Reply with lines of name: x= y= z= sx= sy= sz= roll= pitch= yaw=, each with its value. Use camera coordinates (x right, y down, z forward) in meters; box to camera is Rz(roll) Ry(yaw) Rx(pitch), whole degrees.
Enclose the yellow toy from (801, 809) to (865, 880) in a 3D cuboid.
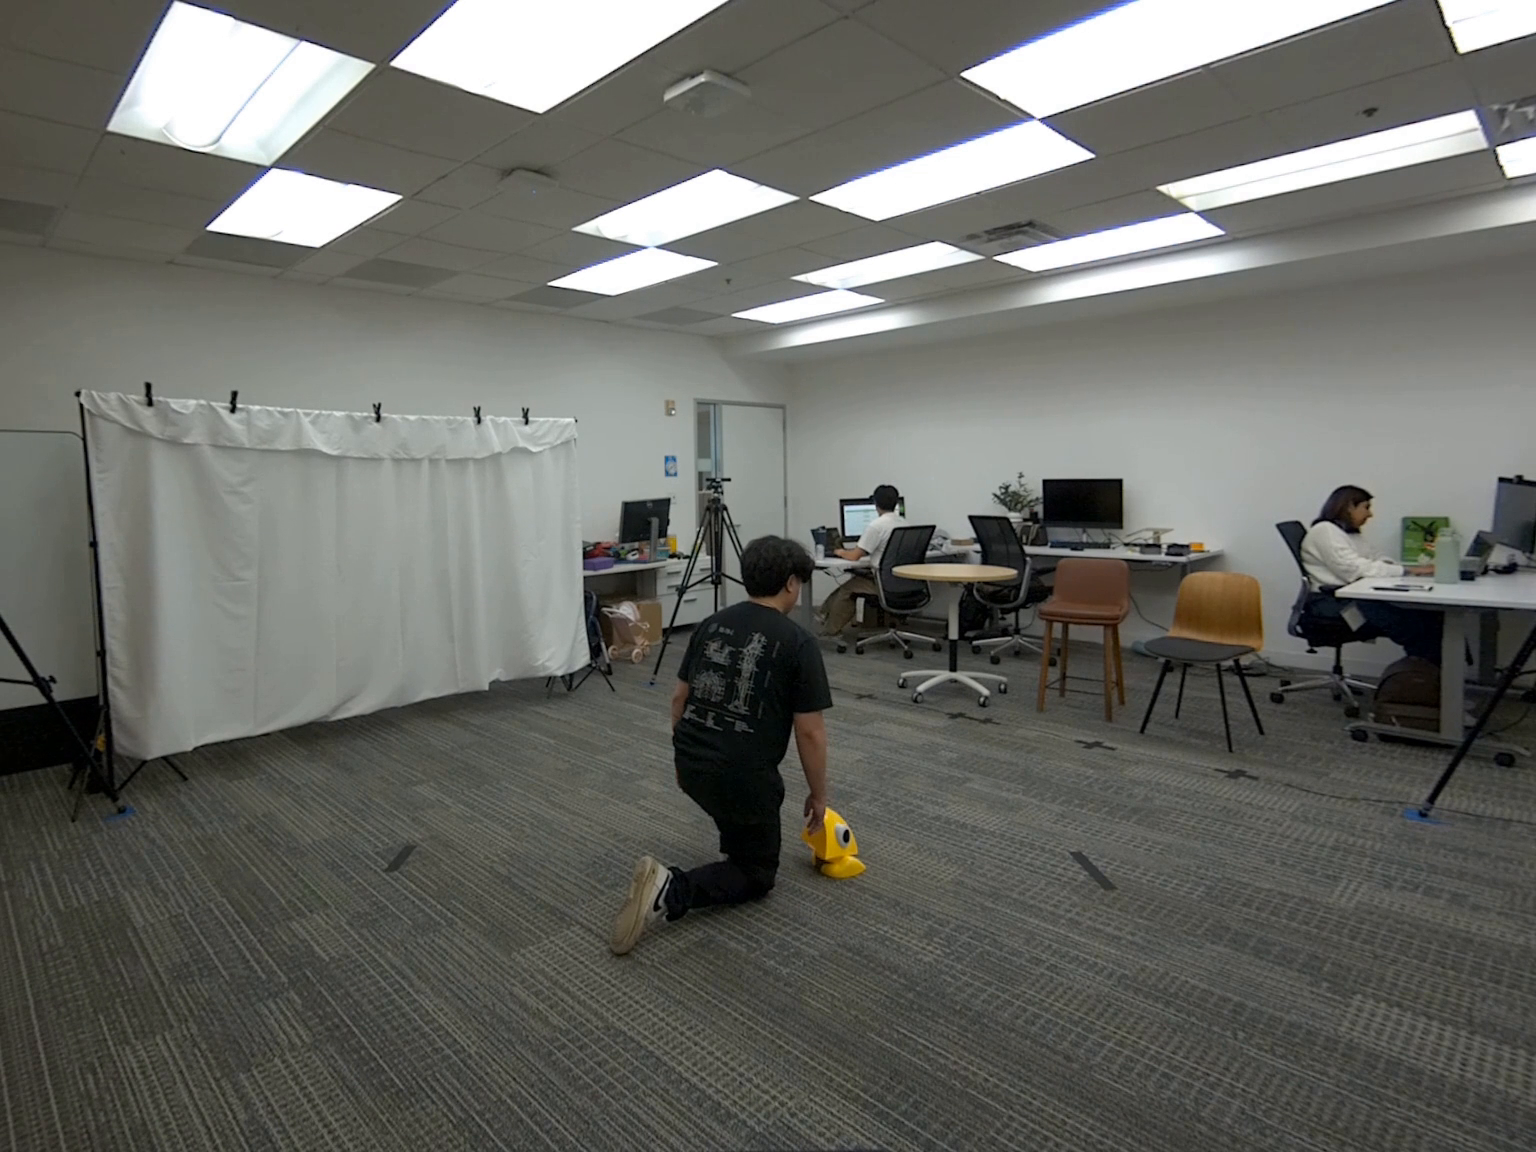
yellow toy: x=0.235 y=0.924 z=3.069 sx=0.189 sy=0.230 sz=0.209 roll=-4 pitch=4 yaw=-23
